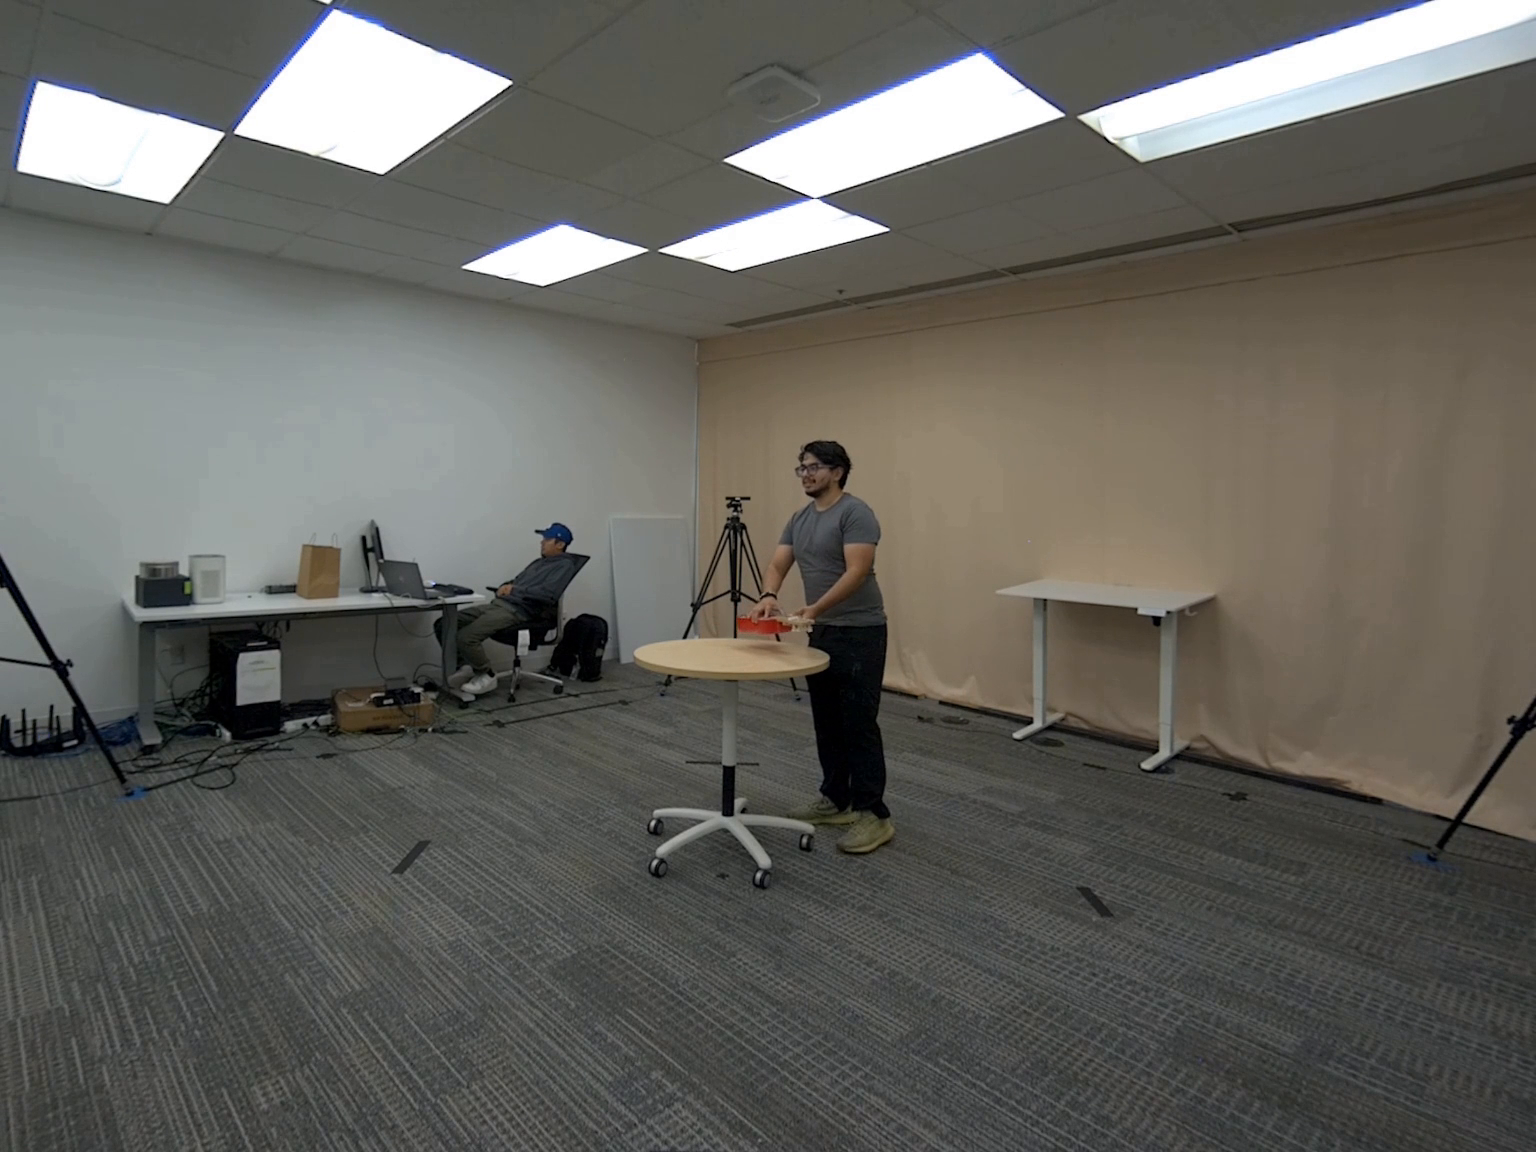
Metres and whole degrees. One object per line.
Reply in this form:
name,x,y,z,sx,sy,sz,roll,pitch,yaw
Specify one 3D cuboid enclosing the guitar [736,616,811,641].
guitar,0.005,0.192,3.284,0.191,0.070,0.503,-5,4,-13
